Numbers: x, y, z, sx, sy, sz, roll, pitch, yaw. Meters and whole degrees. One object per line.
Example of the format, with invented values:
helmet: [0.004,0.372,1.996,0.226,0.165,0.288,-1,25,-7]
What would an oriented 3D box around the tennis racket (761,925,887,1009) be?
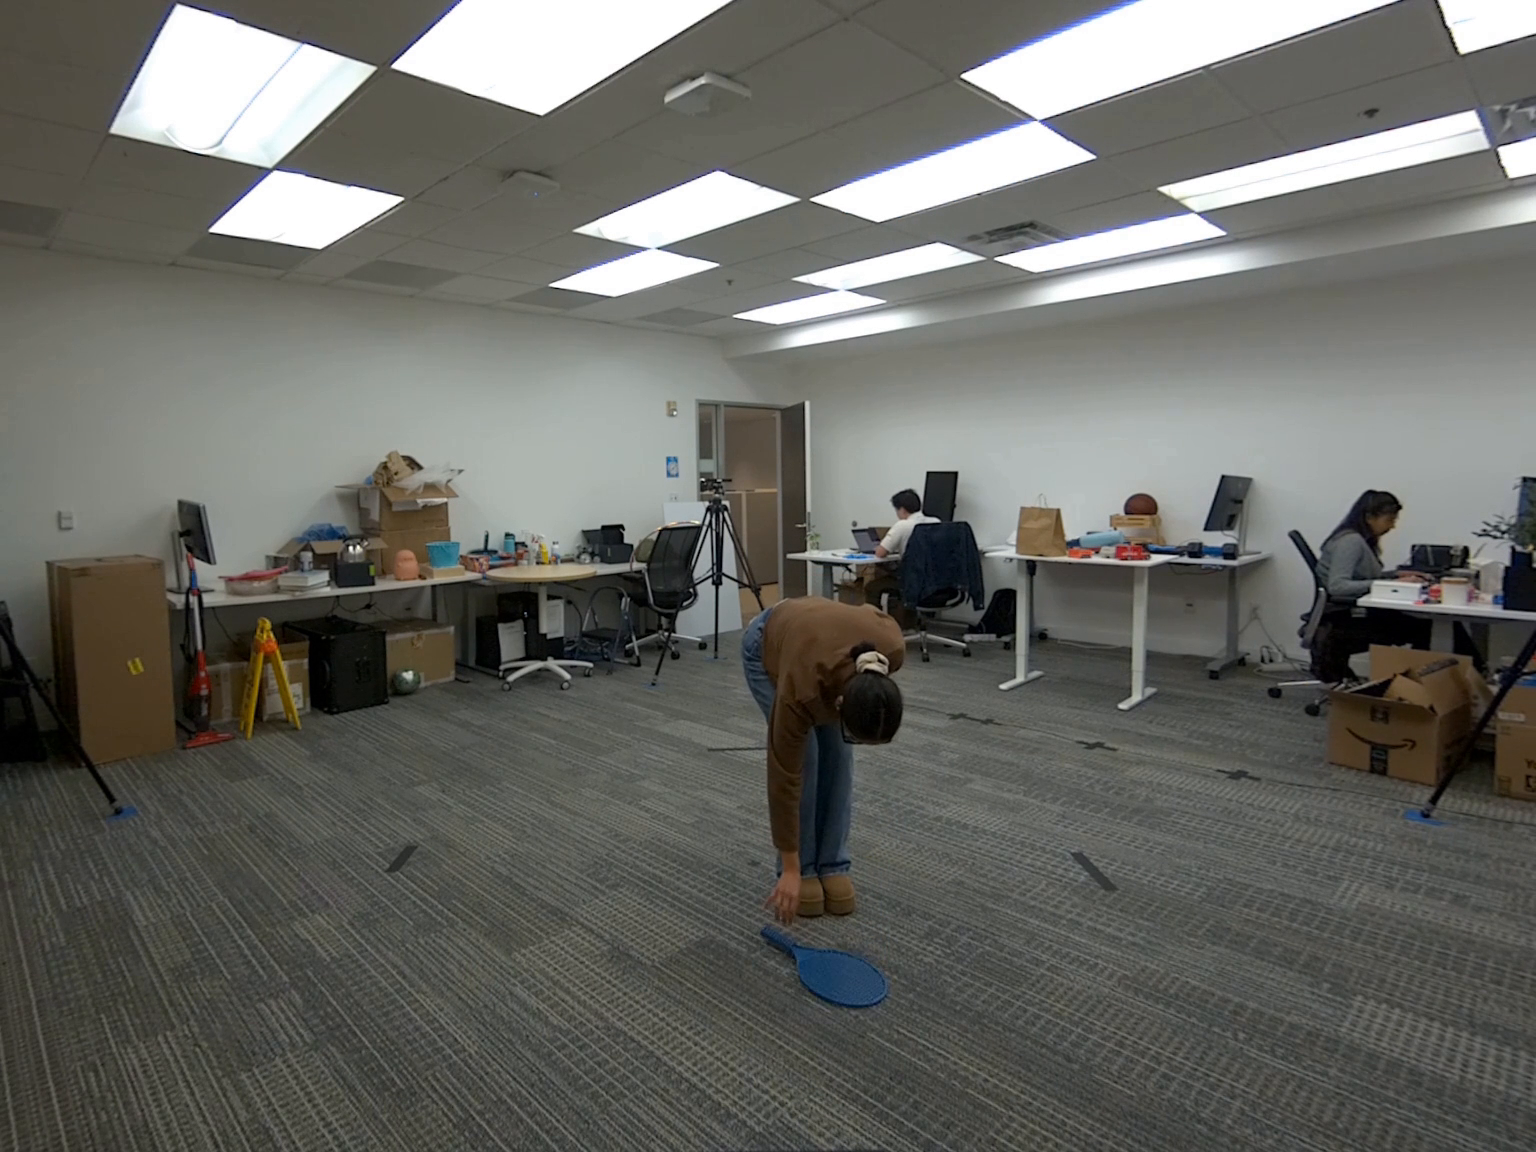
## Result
tennis racket: [0.154,1.097,2.428,0.208,0.031,0.447,-7,12,-42]
